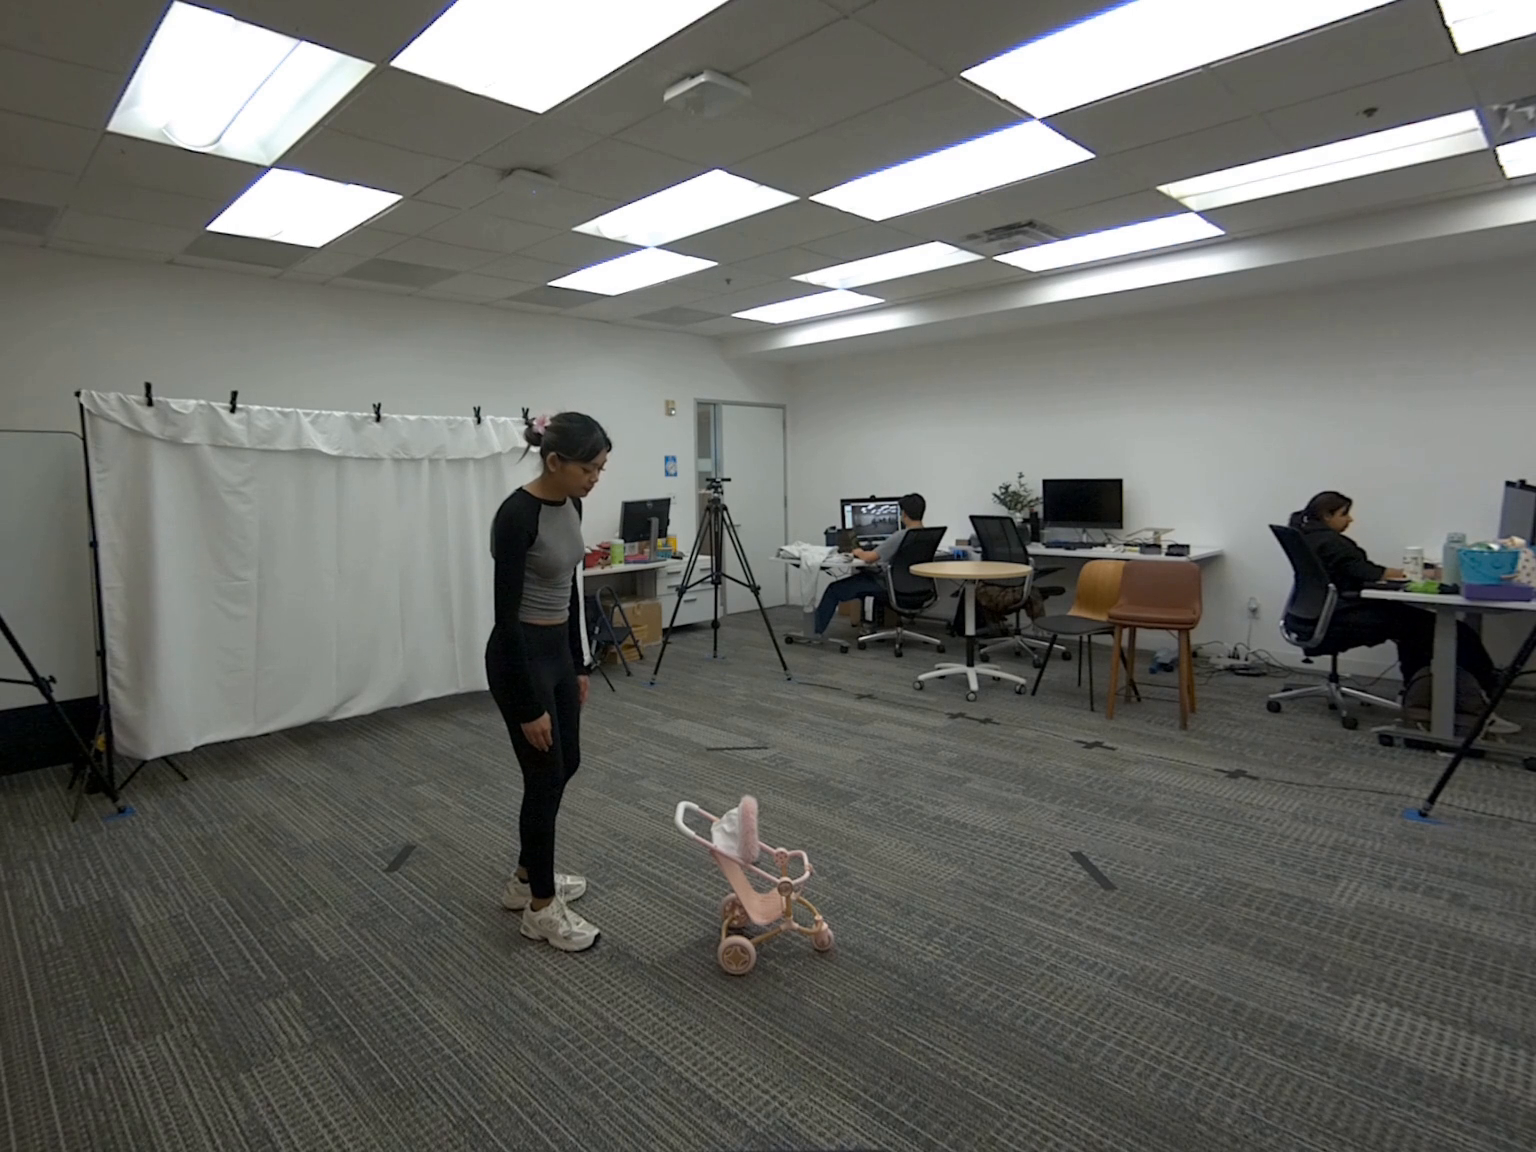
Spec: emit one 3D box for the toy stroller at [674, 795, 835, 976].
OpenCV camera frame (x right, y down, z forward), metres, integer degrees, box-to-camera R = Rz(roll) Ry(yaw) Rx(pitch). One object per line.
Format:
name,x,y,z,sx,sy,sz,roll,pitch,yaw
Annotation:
toy stroller,-0.024,0.892,2.516,0.343,0.533,0.281,-16,3,7
